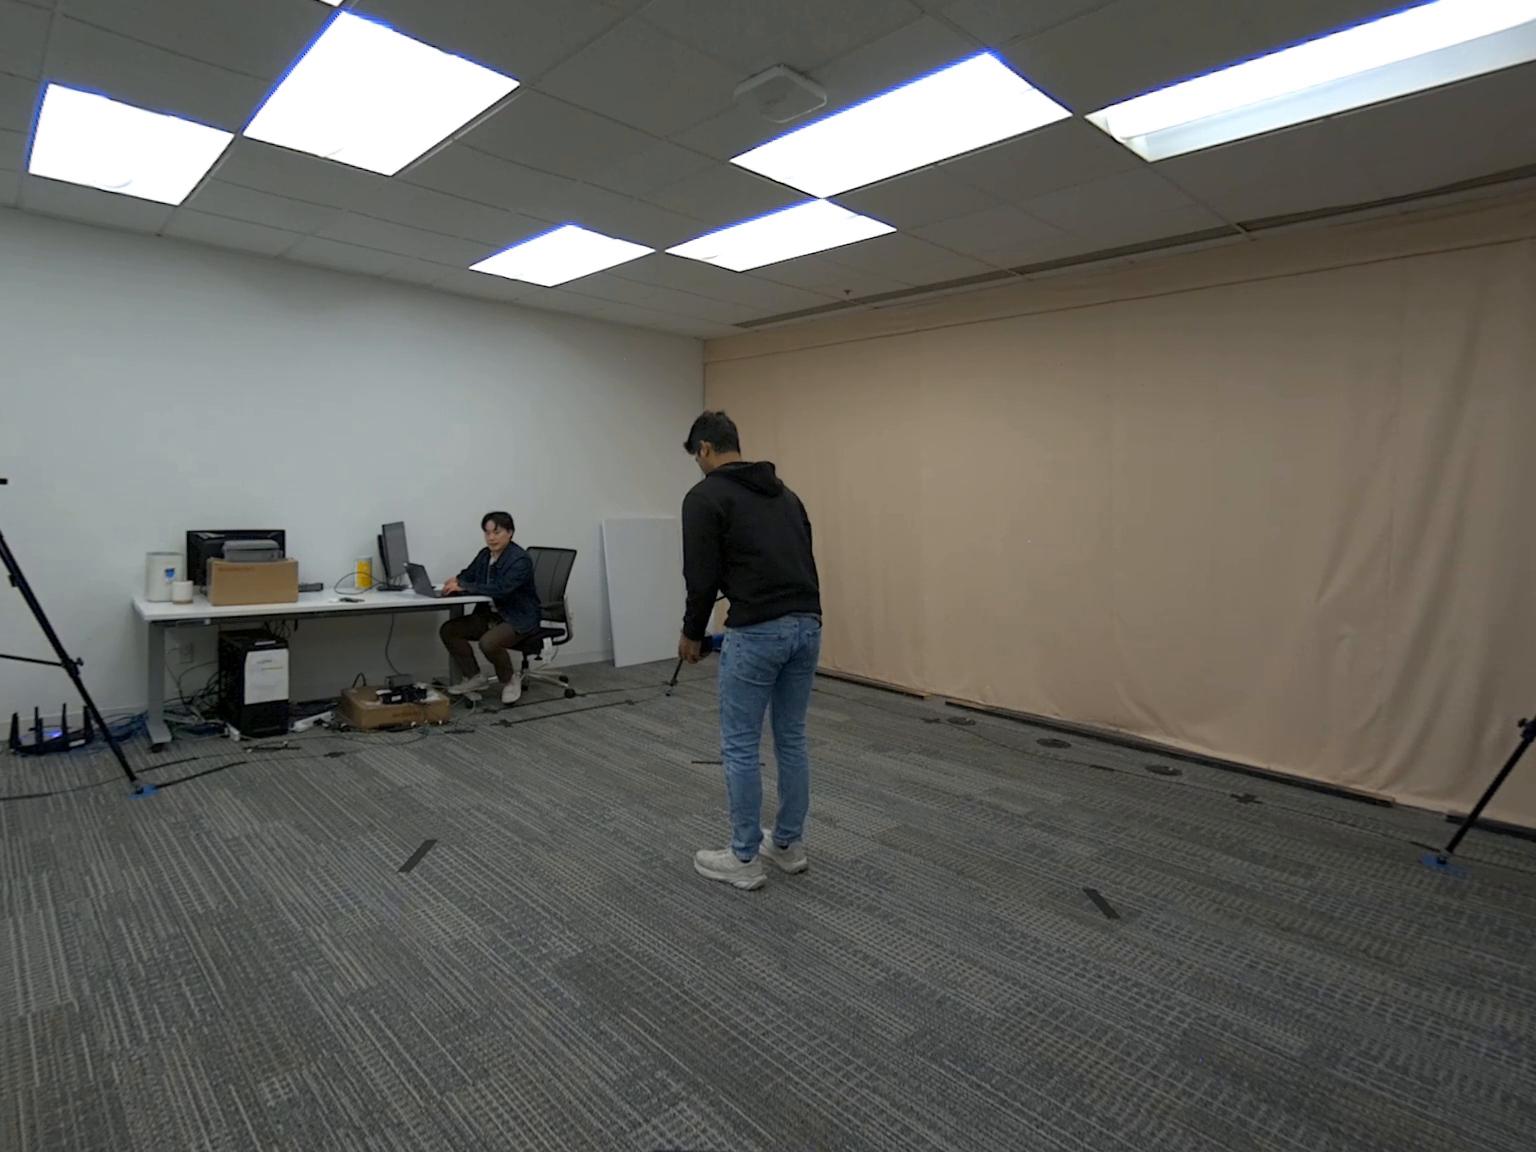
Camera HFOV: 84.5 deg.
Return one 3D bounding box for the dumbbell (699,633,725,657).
[{"bbox_3d":[-0.180,0.267,3.268,0.287,0.123,0.111,-4,1,-37],"label":"dumbbell"}]
